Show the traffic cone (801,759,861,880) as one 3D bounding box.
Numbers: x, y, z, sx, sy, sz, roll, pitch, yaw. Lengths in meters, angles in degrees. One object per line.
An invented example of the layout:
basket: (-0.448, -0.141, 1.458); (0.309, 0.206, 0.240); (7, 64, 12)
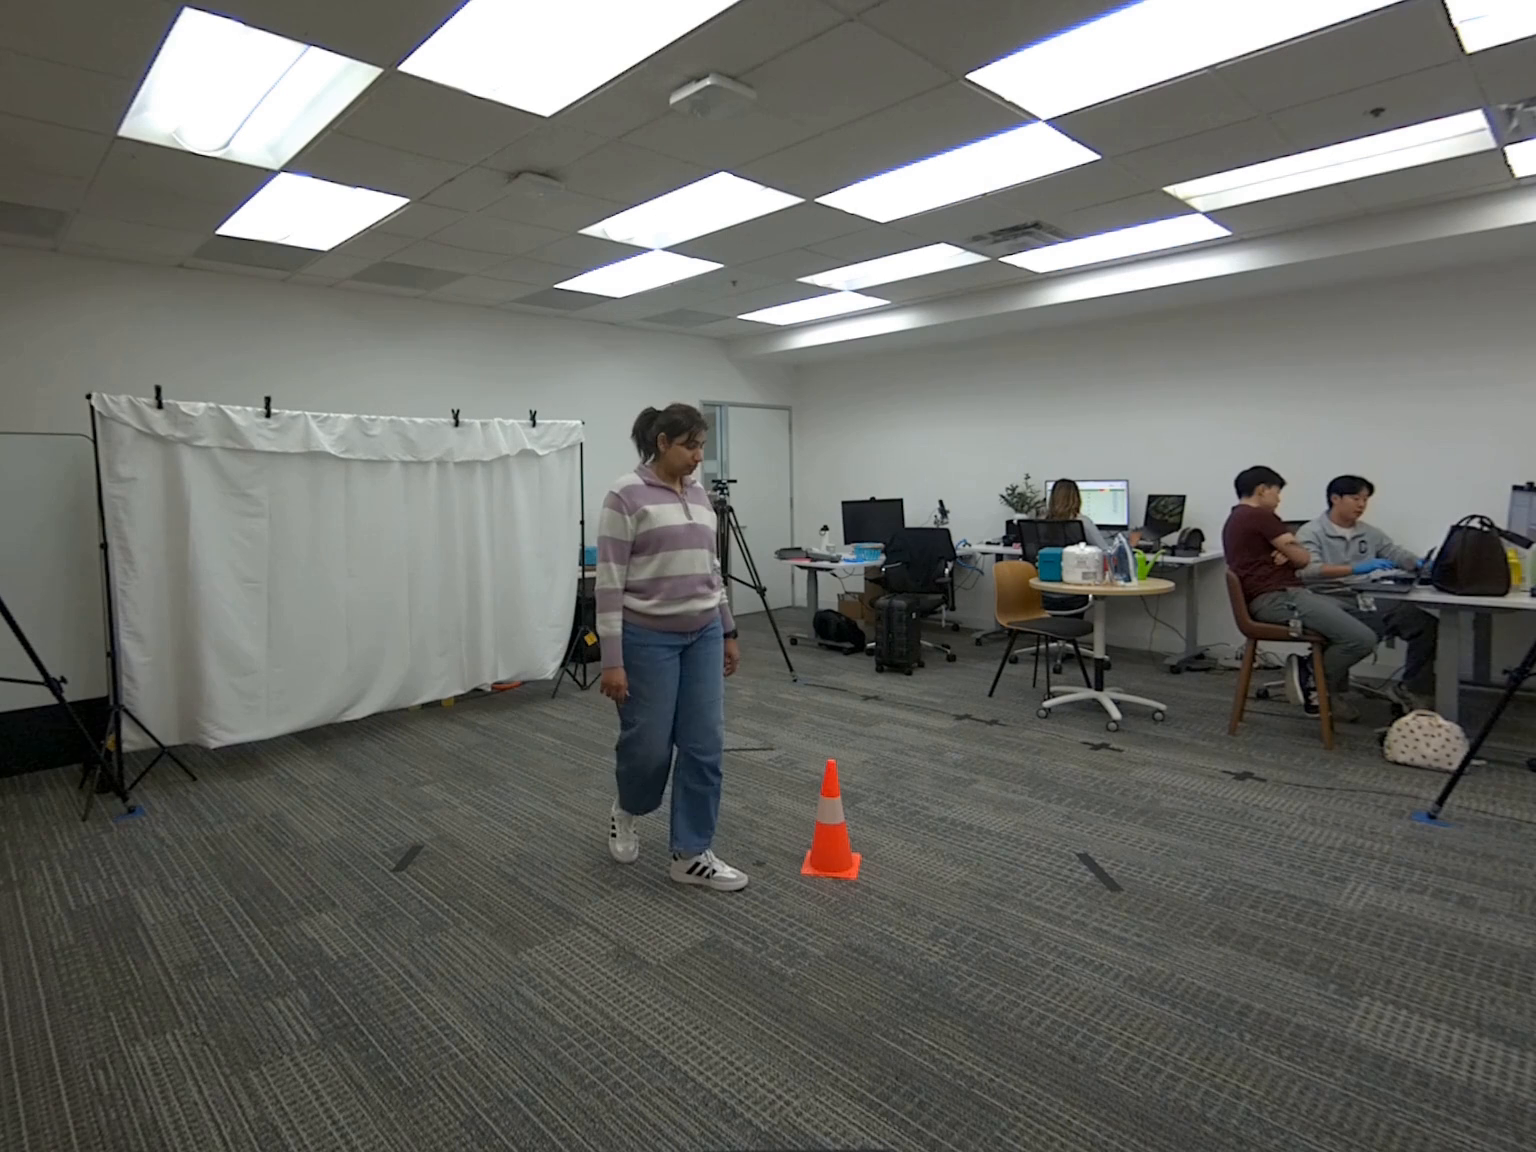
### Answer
traffic cone: (0.224, 0.858, 3.081); (0.206, 0.382, 0.203); (-1, 4, 12)
